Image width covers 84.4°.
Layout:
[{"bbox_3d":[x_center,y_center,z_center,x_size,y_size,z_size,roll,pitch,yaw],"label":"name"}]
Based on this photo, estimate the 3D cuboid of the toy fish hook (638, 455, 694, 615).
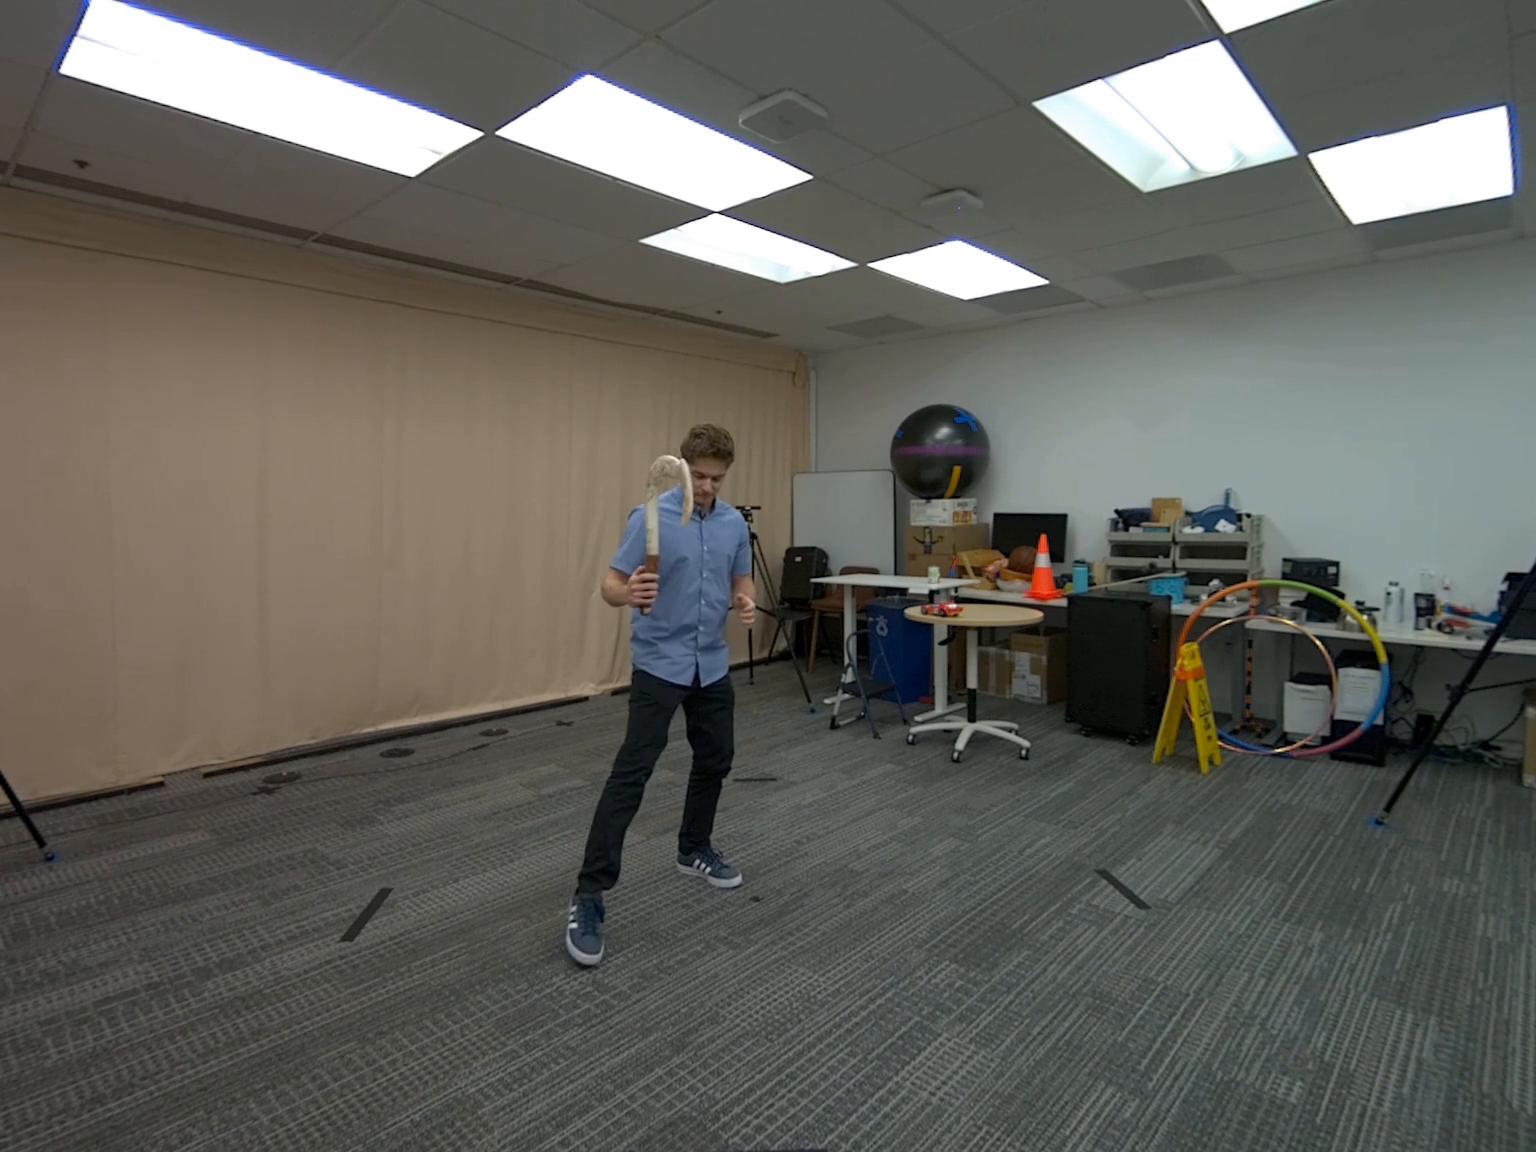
[{"bbox_3d":[-0.312,-0.102,2.547,0.047,0.504,0.233,-1,15,-39],"label":"toy fish hook"}]
